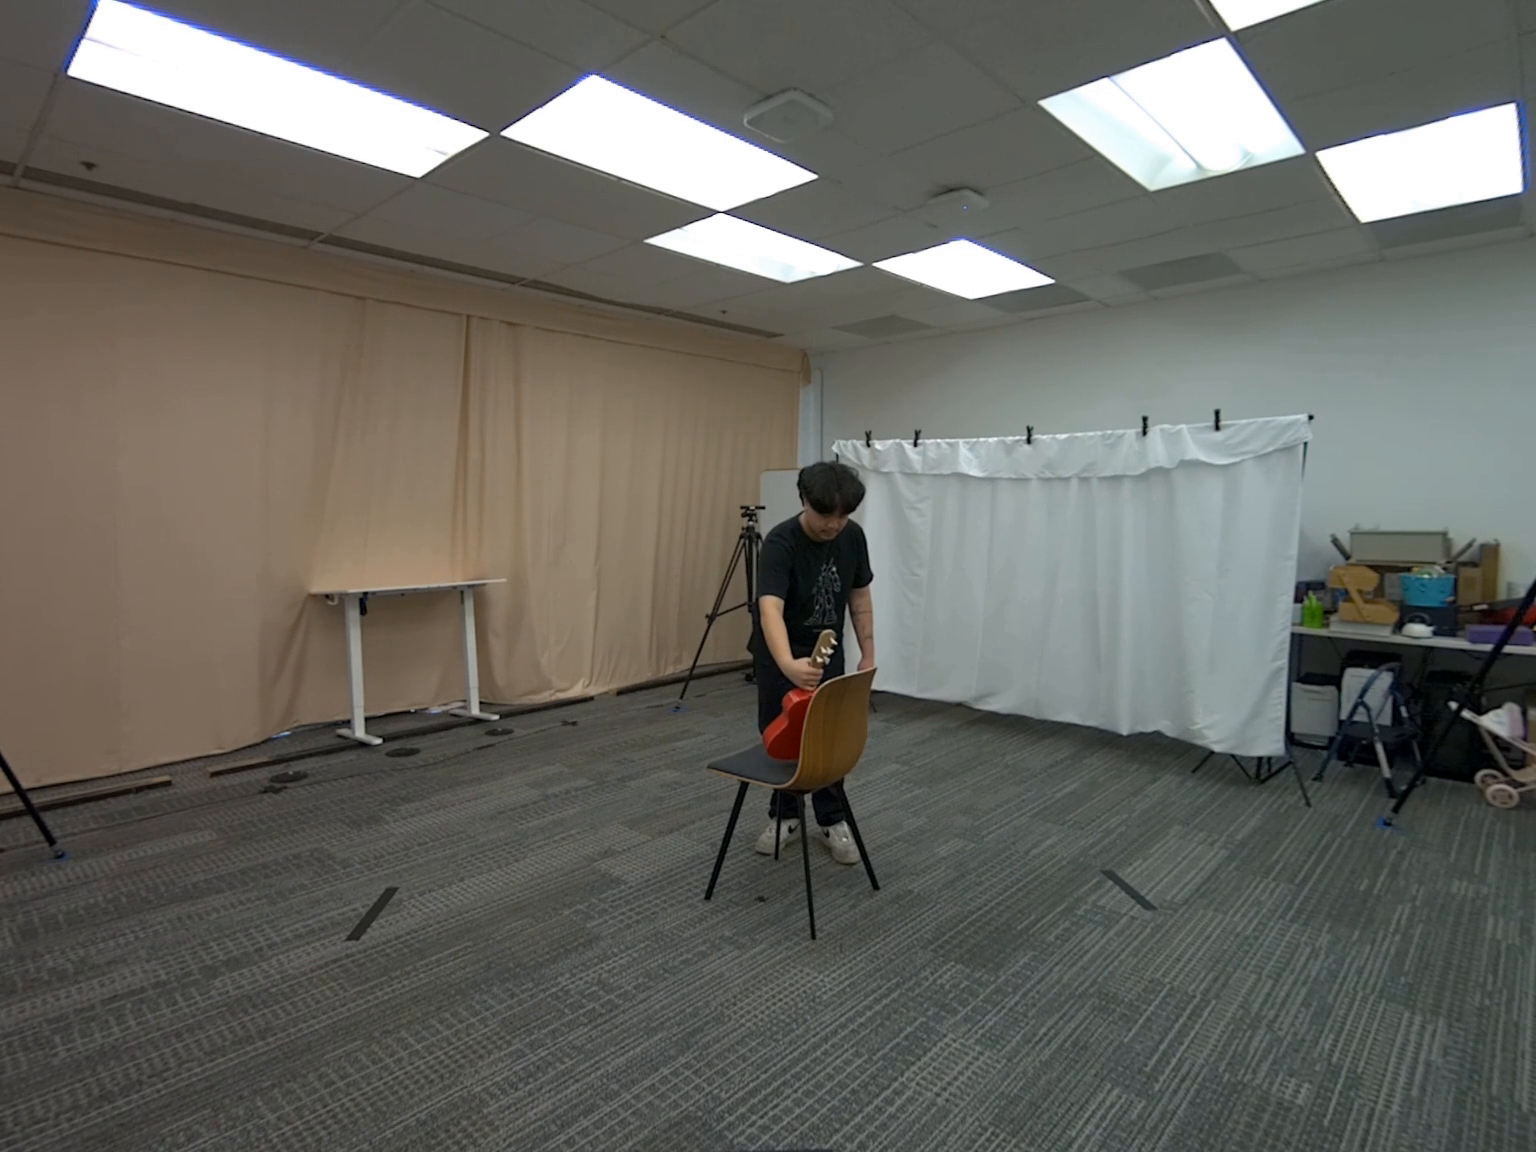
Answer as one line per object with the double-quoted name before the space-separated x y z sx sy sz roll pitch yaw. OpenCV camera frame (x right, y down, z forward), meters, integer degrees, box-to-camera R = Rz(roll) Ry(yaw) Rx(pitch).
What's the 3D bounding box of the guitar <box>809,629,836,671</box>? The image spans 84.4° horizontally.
"guitar" 0.112 0.409 2.870 0.189 0.493 0.073 0 28 -22
